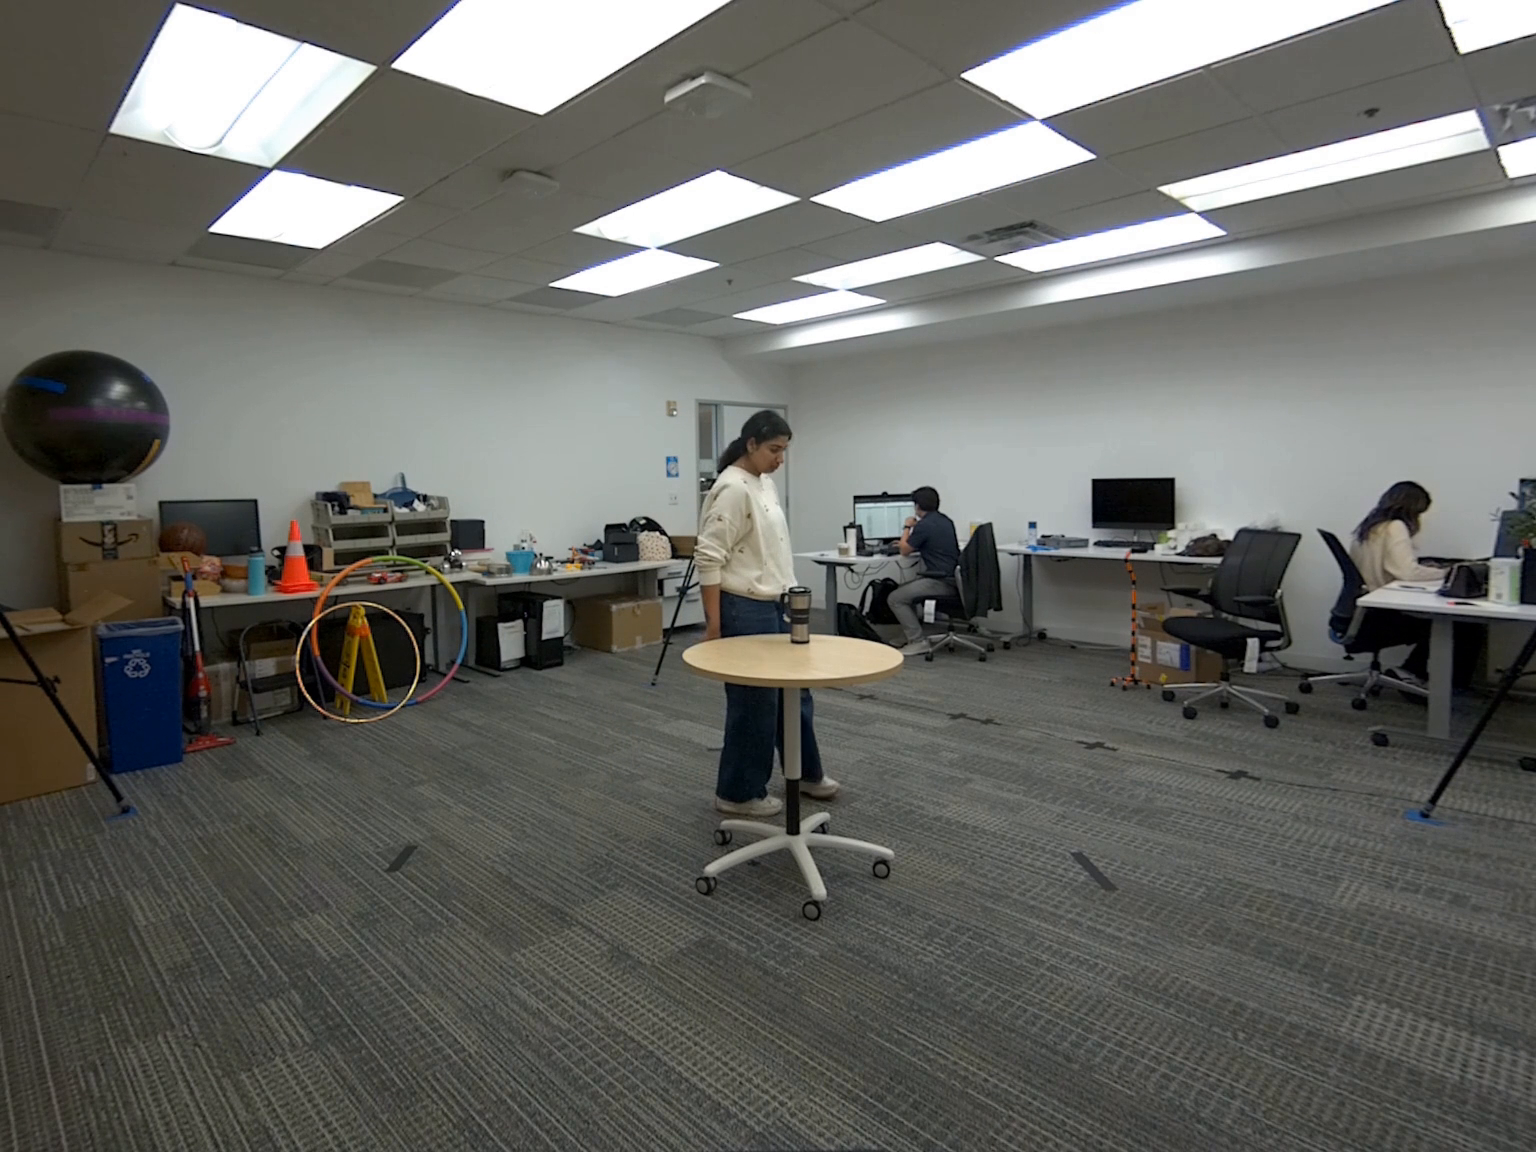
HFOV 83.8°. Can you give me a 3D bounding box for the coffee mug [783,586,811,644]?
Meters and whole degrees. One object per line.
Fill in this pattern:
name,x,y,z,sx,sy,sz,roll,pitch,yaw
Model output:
coffee mug,0.114,0.151,3.207,0.086,0.201,0.125,-4,9,-28
